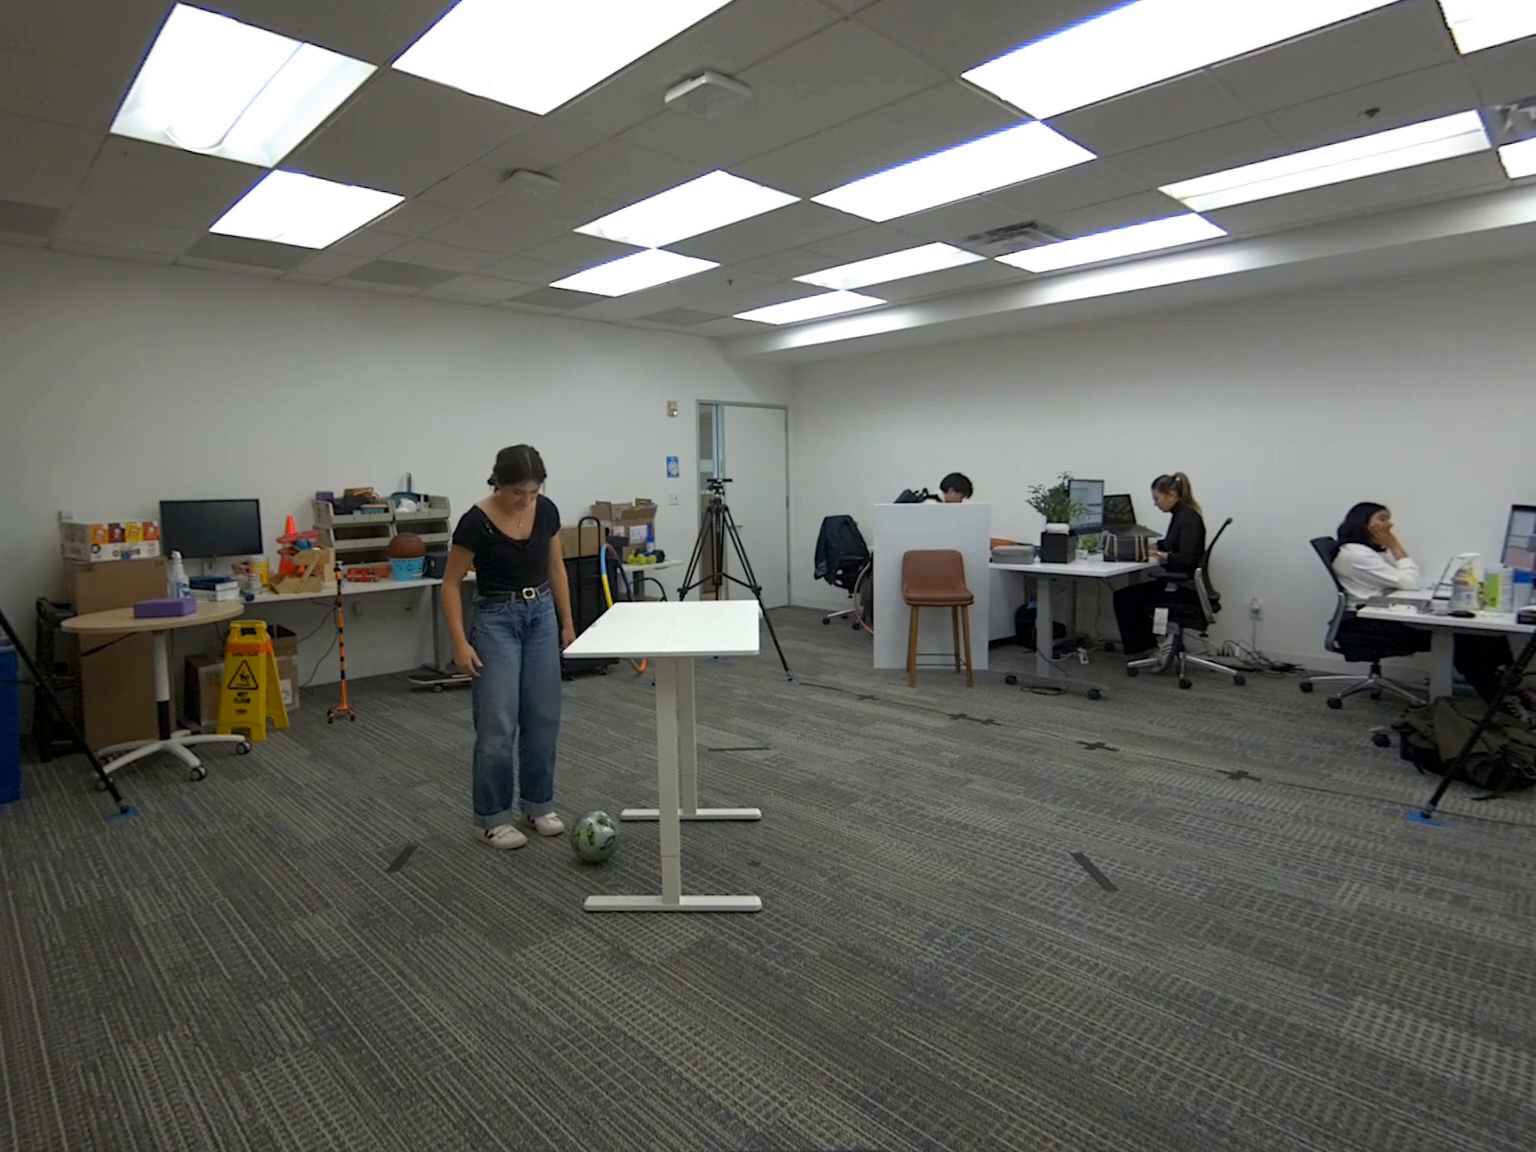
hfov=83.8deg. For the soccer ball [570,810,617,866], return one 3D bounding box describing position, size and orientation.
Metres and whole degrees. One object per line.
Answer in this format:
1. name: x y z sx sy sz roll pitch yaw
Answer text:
1. soccer ball: -0.635 0.962 3.150 0.187 0.187 0.188 -1 5 -2
